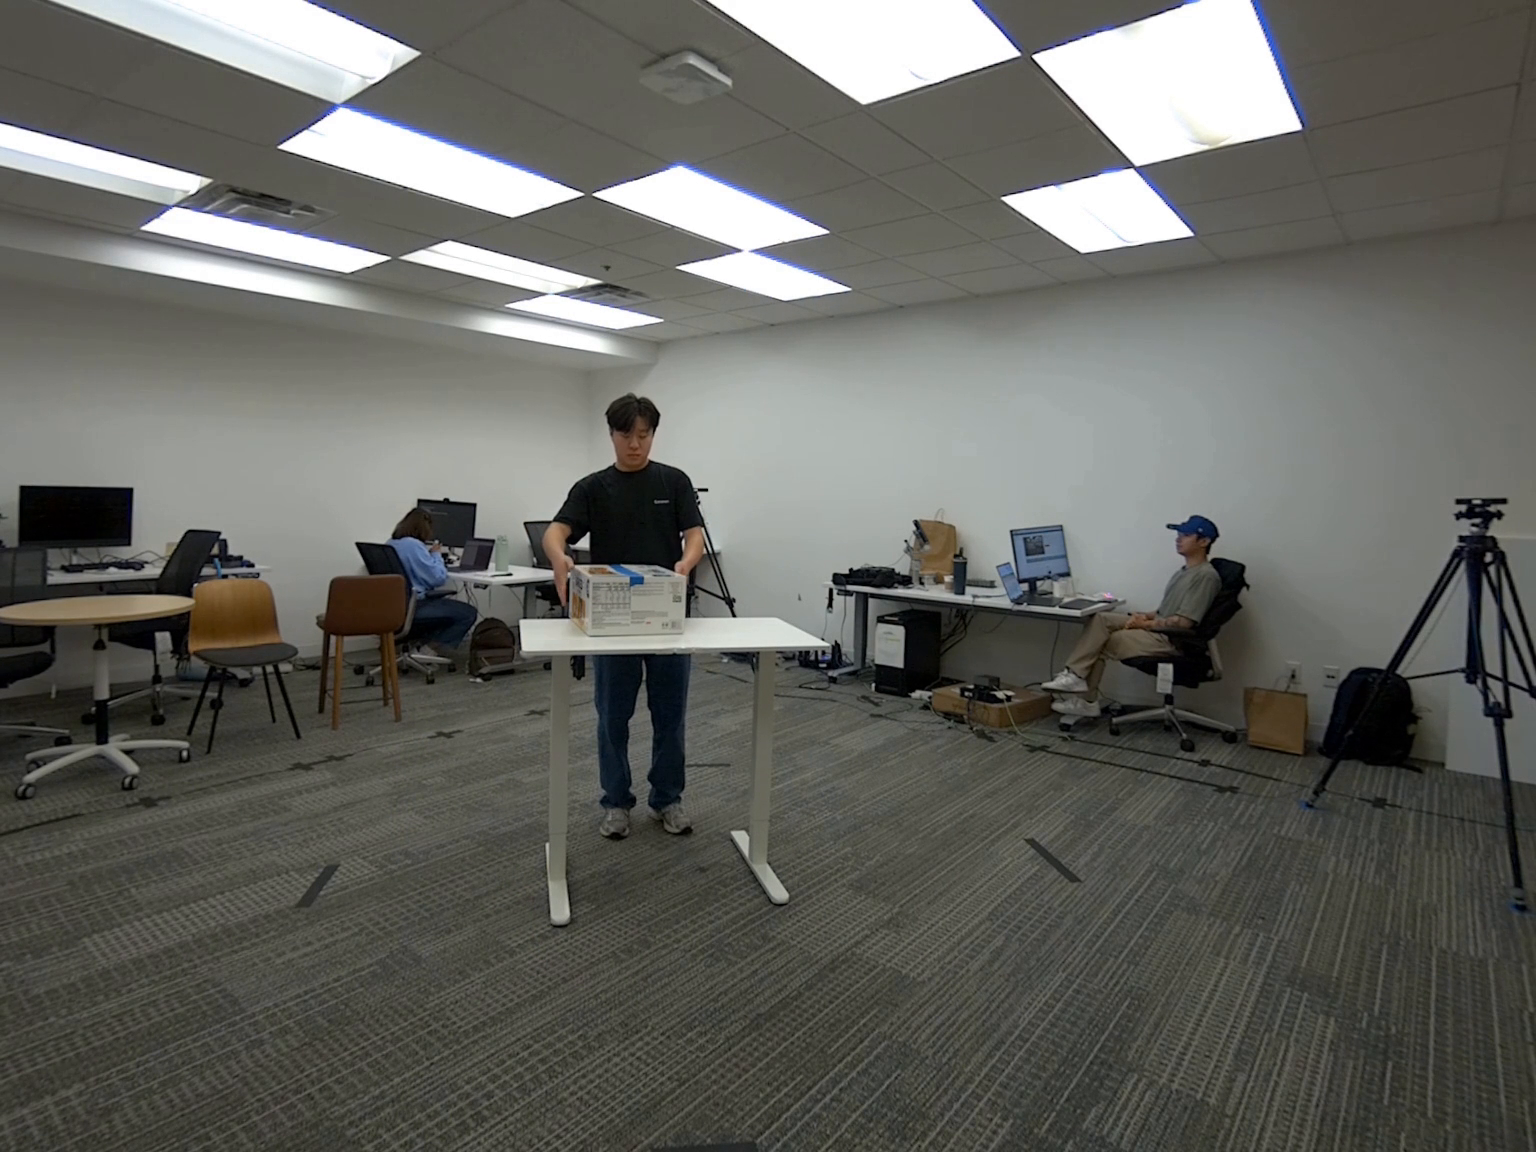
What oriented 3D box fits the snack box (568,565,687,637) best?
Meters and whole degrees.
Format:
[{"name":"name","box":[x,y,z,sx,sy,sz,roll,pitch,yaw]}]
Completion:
[{"name":"snack box","box":[-0.530,0.077,3.086,0.333,0.205,0.415,-1,6,-21]}]
